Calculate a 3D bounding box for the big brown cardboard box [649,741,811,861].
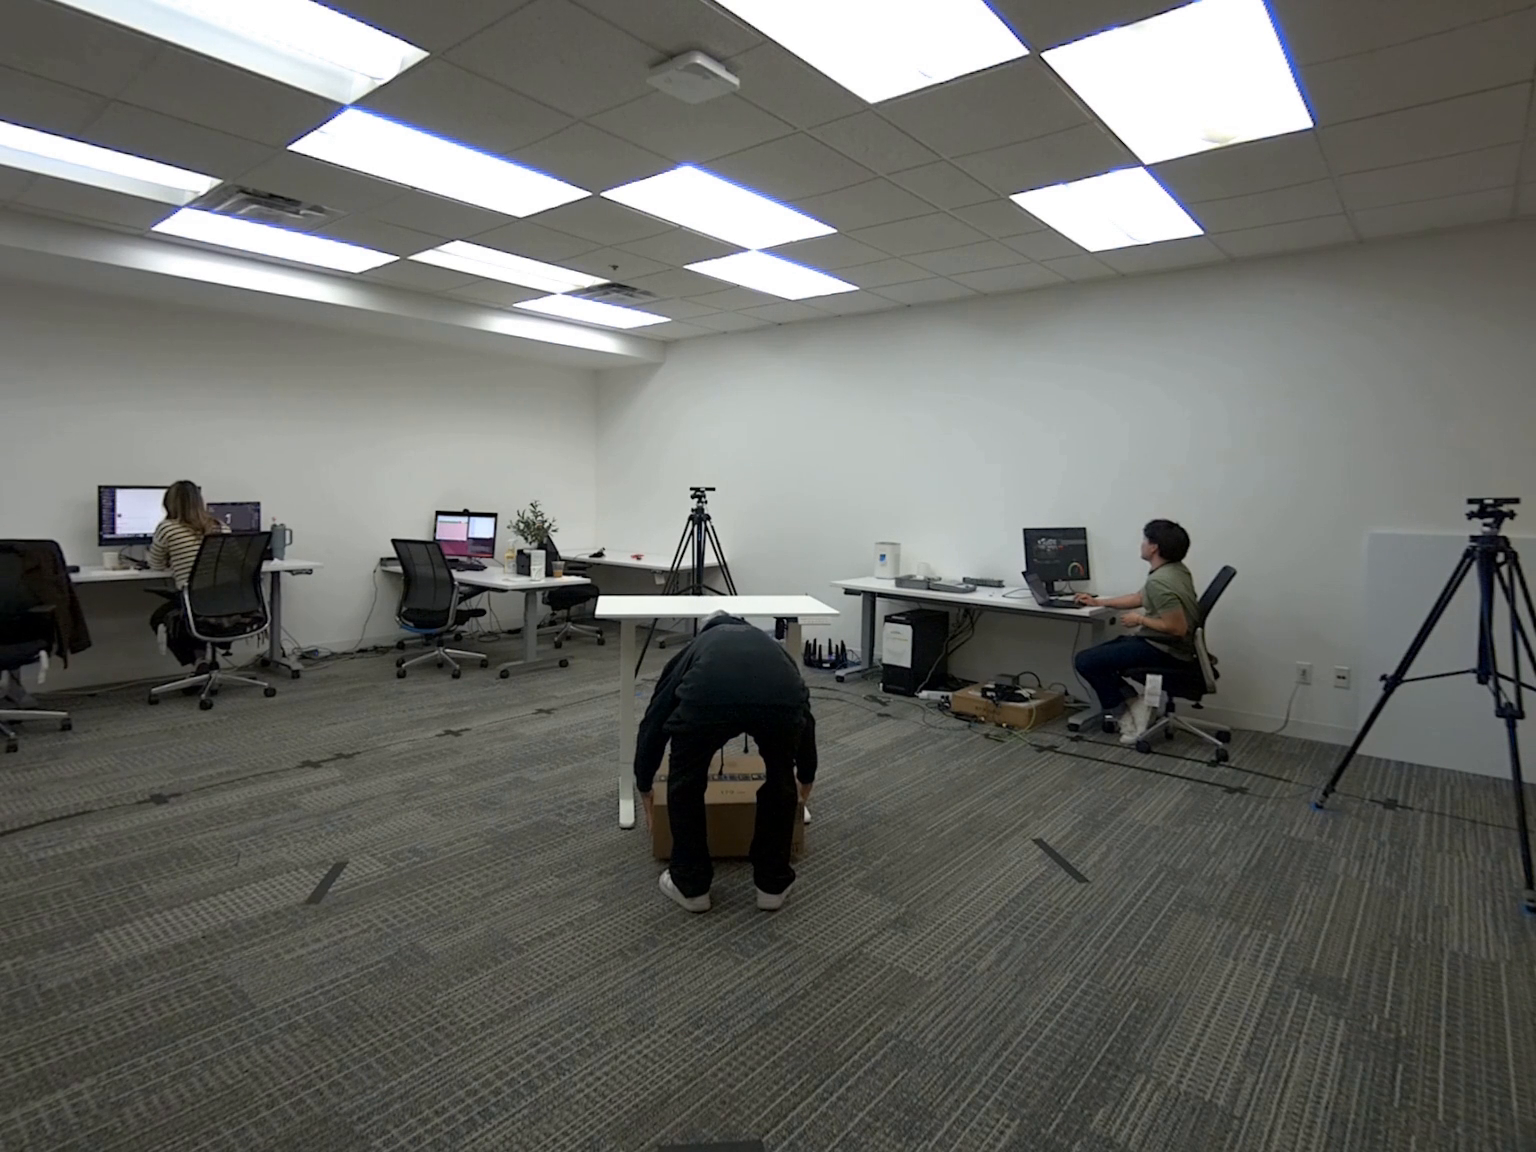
[{"bbox_3d":[-0.182,0.890,3.340,0.586,0.231,0.424,1,11,-6],"label":"big brown cardboard box"}]
